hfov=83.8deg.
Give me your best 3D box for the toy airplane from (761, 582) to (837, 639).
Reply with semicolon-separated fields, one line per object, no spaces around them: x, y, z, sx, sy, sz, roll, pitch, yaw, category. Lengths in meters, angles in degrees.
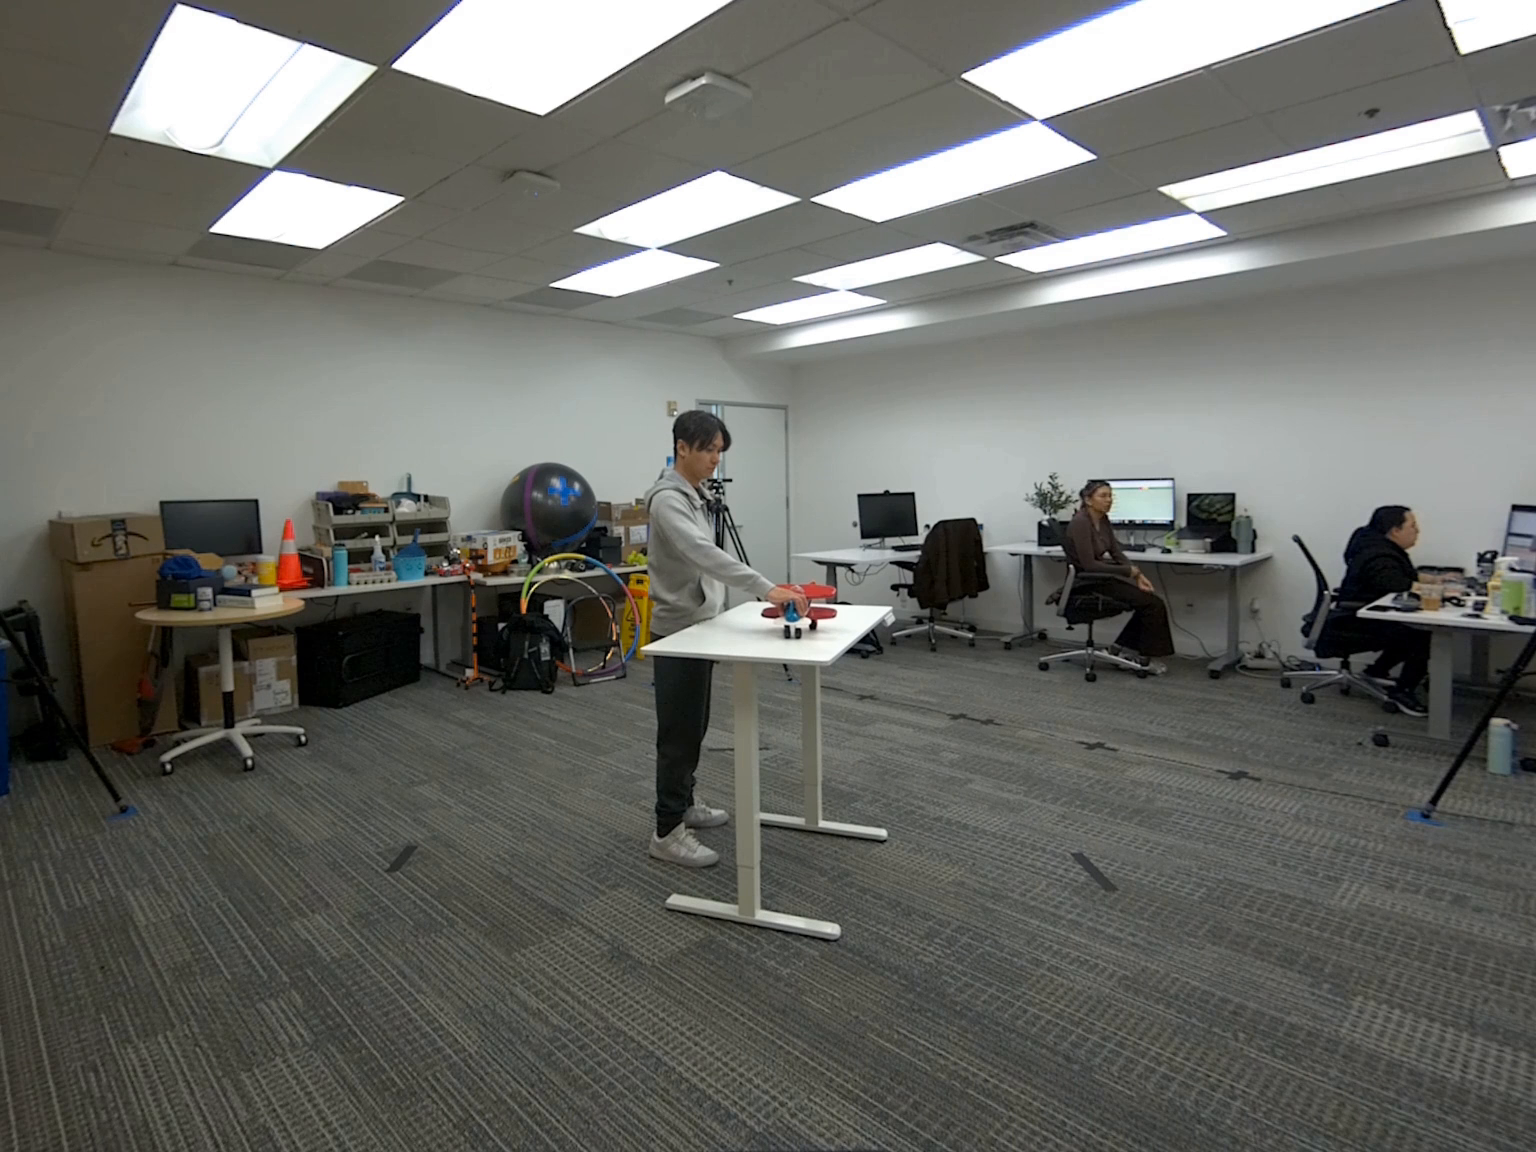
0.120;0.115;2.839;0.247;0.156;0.264;-3;6;-16;toy airplane
